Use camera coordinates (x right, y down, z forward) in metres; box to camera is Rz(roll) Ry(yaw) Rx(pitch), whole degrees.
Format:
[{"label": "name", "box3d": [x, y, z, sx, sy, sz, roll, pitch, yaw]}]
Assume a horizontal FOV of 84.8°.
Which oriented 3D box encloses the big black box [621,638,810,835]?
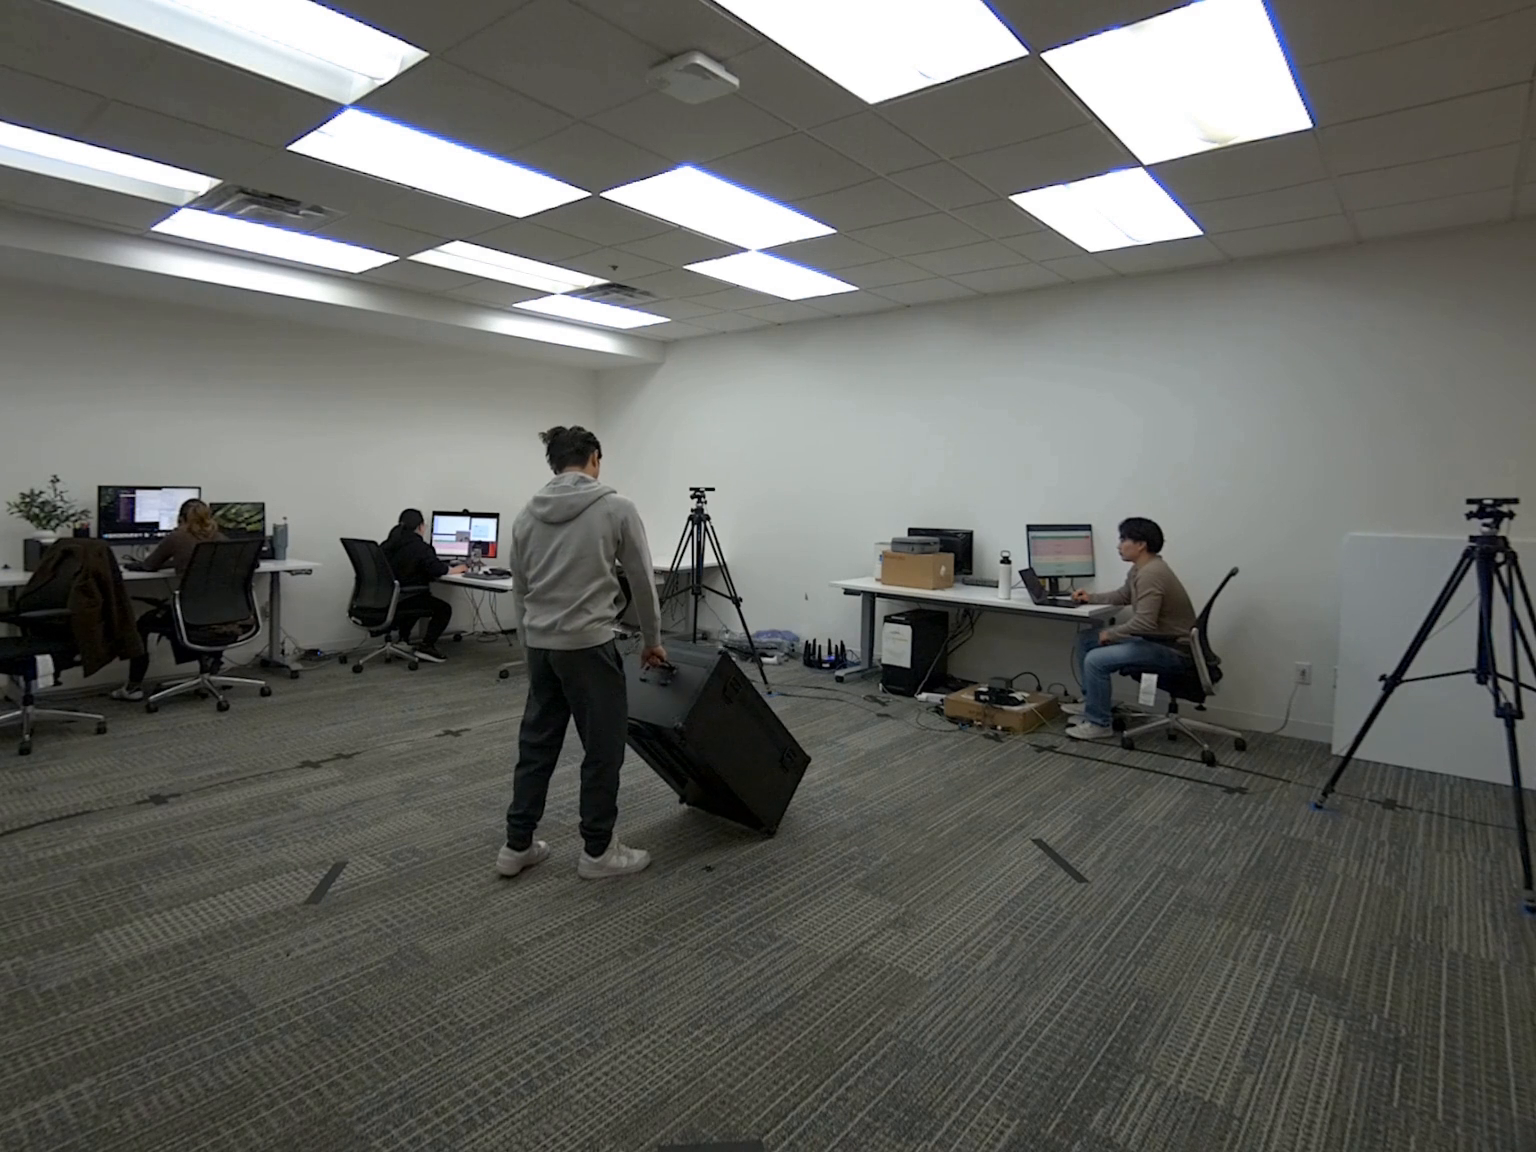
[{"label": "big black box", "box3d": [-0.249, 0.661, 3.425, 0.539, 0.399, 0.827, 4, -38, 40]}]
